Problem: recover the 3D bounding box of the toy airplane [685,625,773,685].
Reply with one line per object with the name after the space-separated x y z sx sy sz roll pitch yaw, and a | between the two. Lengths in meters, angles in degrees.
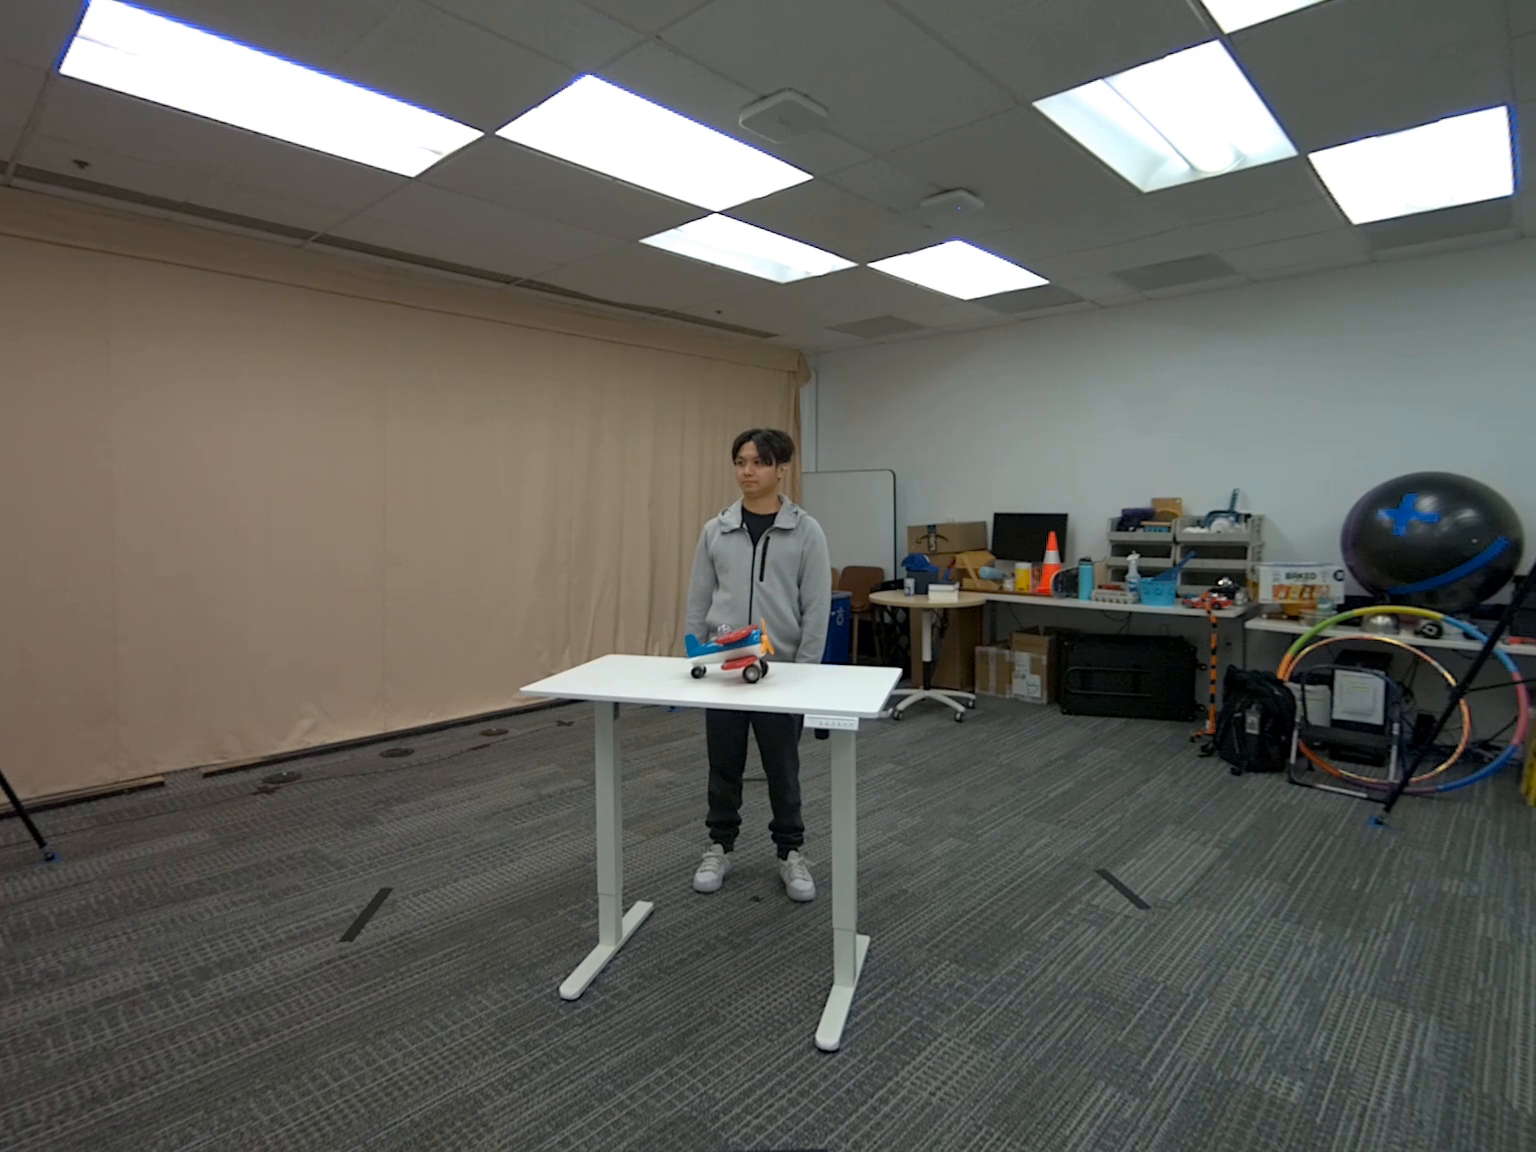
-0.128 0.231 2.461 0.256 0.156 0.255 -1 4 -12 | toy airplane
